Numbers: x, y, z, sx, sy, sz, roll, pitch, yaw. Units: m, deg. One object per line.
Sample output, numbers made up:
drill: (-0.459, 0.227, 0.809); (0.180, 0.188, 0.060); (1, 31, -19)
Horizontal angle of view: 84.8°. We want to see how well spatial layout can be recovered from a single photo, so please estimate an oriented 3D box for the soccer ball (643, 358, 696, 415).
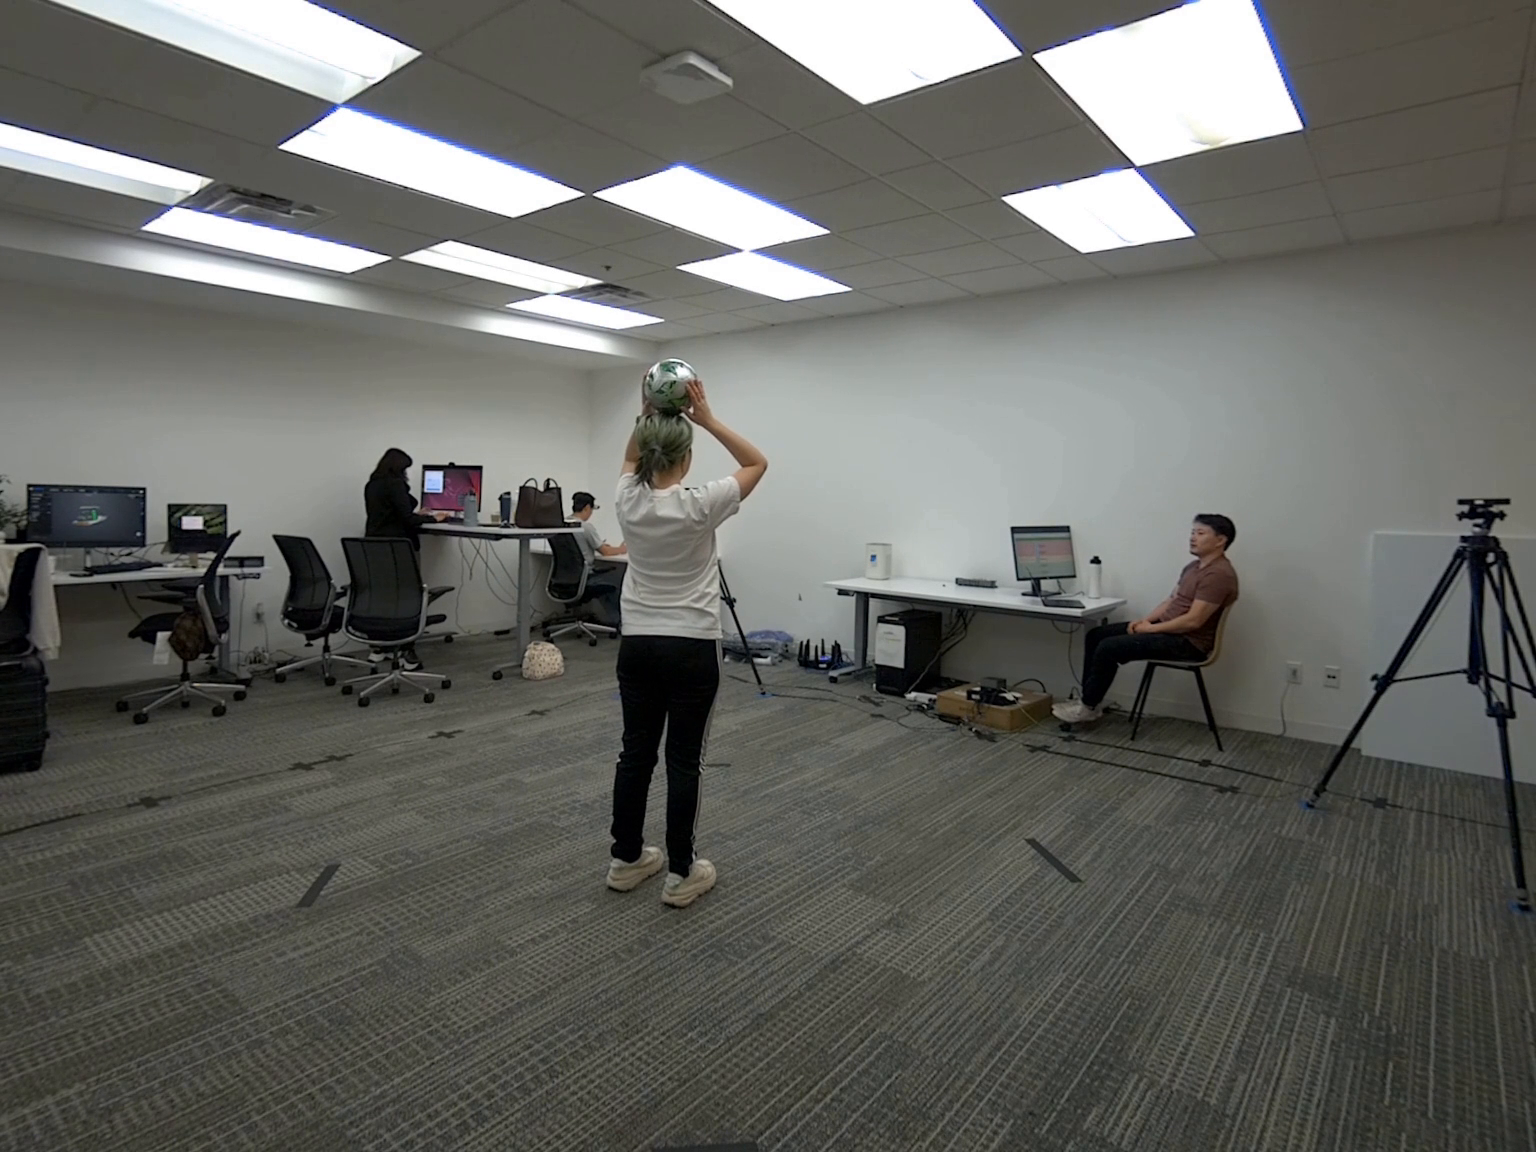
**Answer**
soccer ball: (-0.340, -0.644, 2.887); (0.187, 0.187, 0.188); (1, 4, -2)
